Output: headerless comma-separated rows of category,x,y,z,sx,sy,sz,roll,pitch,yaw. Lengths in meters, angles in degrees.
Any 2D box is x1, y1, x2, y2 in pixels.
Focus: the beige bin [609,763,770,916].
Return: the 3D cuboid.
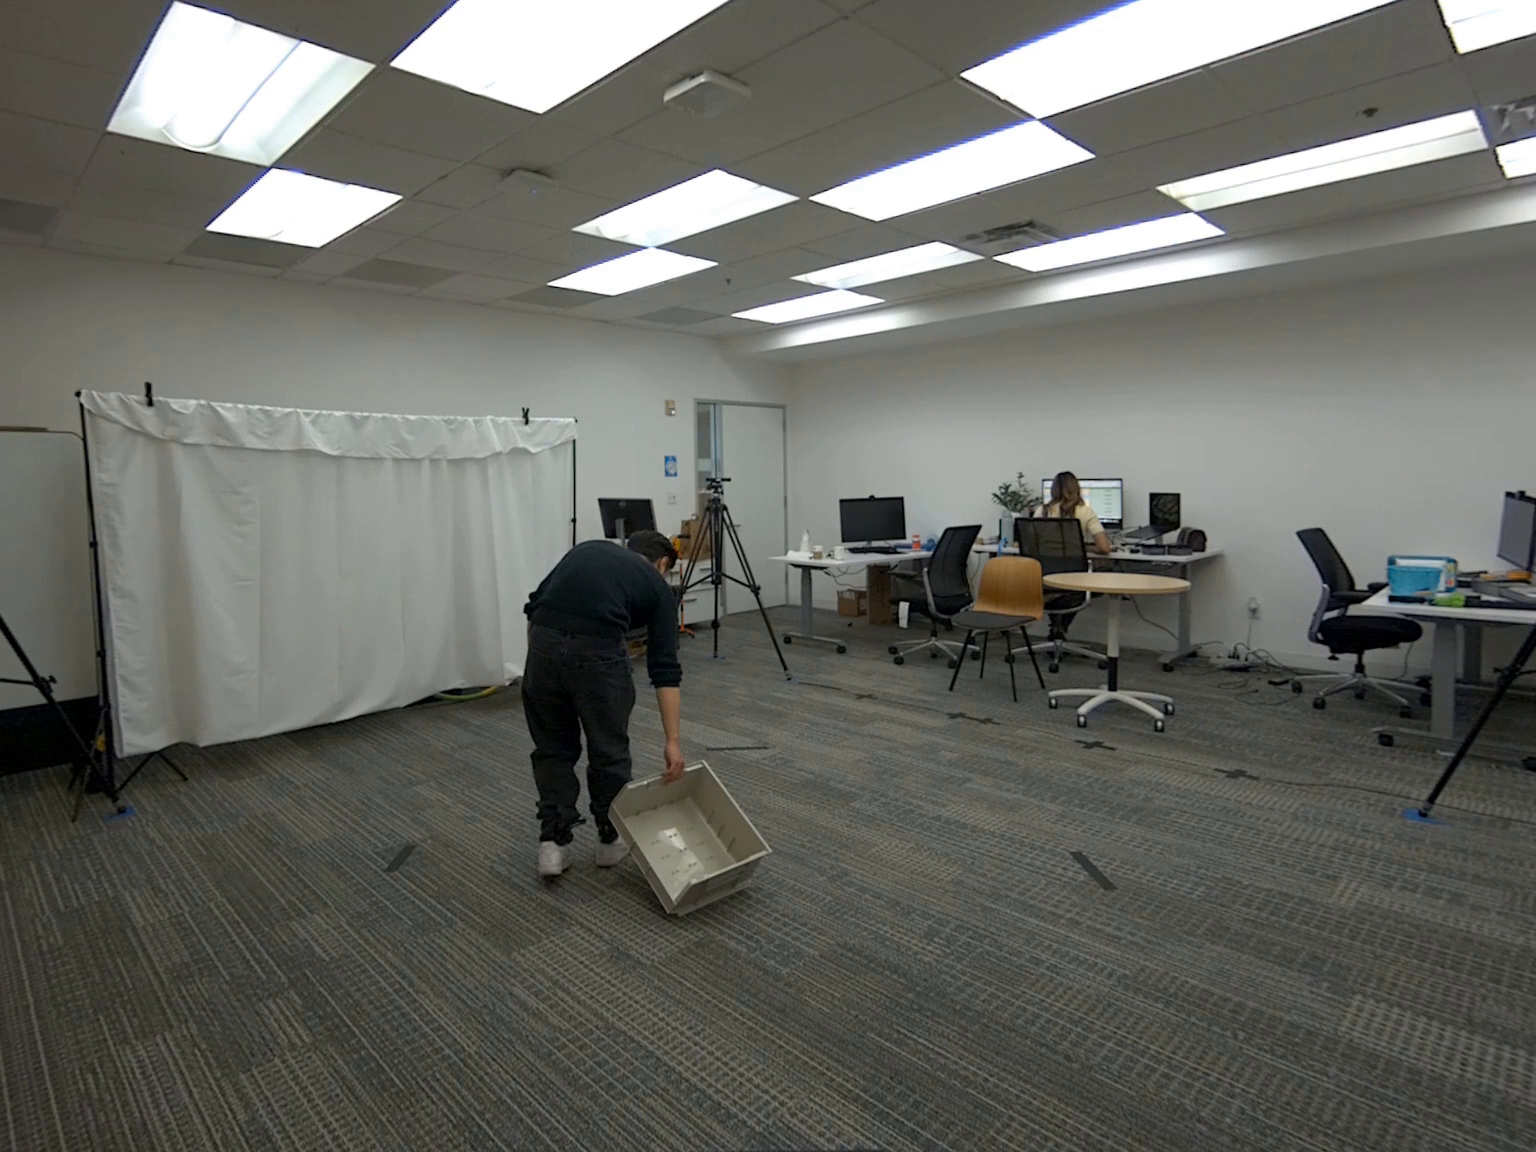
beige bin,-0.277,0.882,2.902,0.367,0.187,0.439,-4,37,-42
